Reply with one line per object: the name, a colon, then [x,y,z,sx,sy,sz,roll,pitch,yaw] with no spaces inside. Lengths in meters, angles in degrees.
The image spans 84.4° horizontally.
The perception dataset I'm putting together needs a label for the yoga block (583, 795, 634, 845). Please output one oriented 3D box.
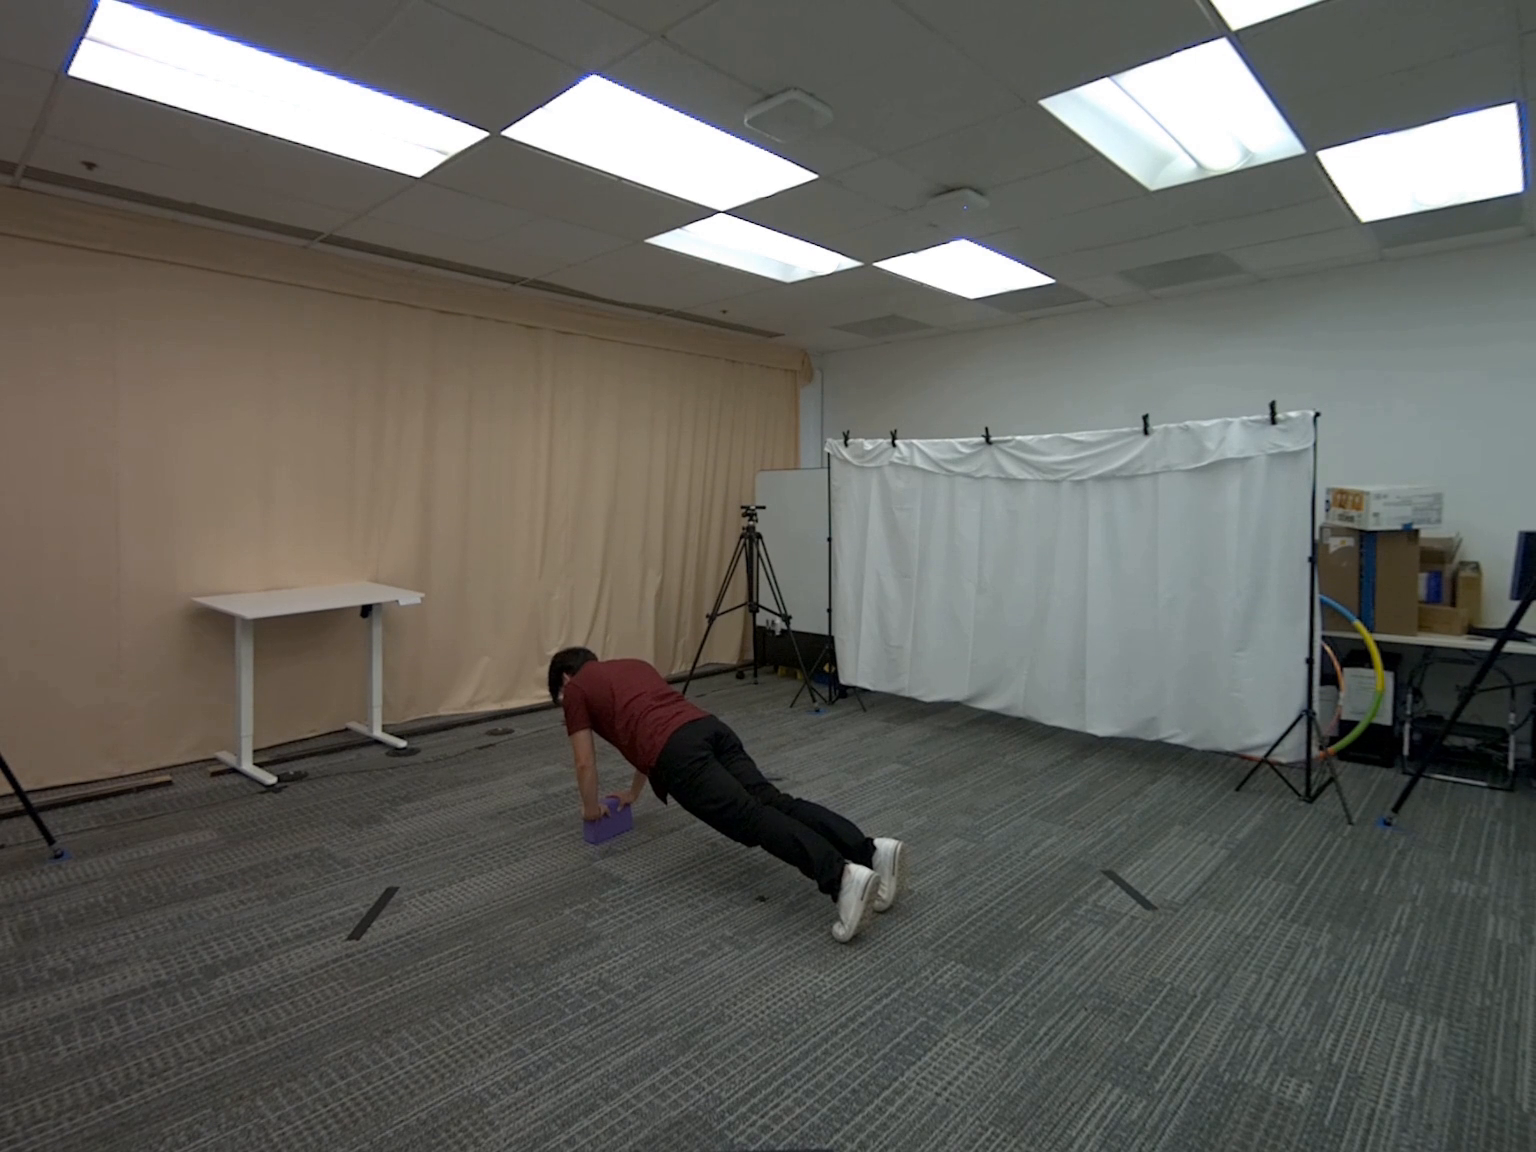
yoga block: [-0.683,1.032,3.579,0.079,0.149,0.223,-3,2,35]
